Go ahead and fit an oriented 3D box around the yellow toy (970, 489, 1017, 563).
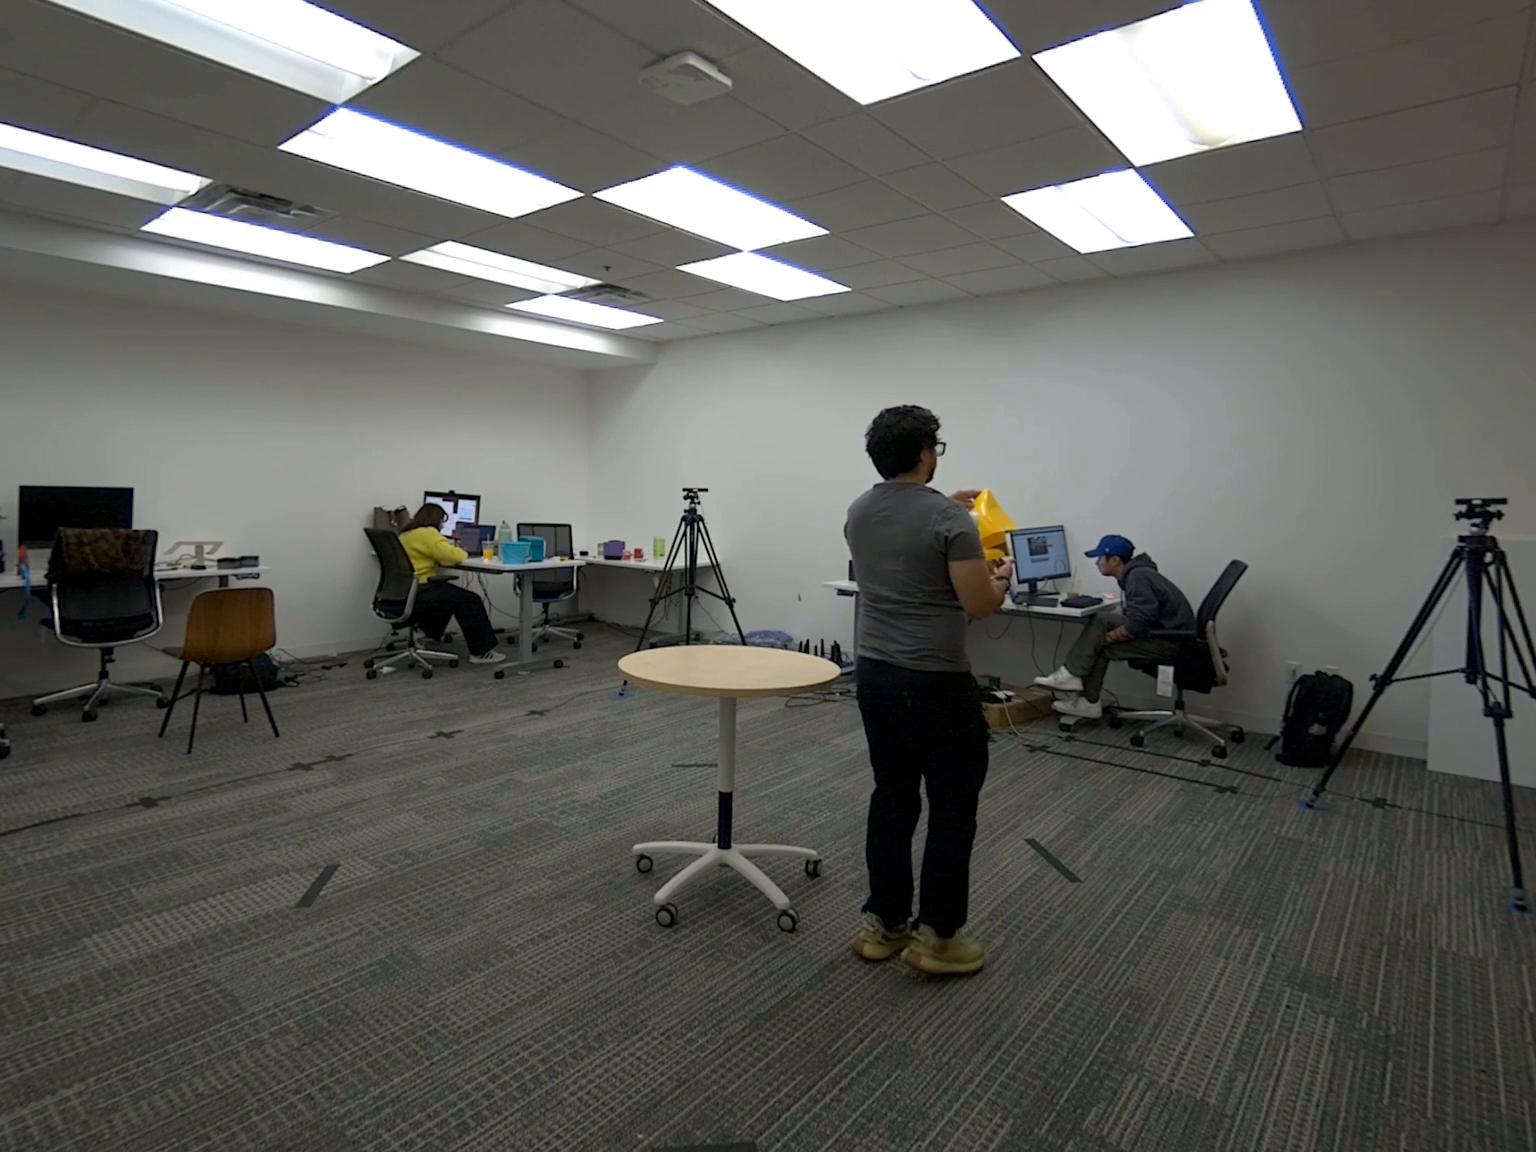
[{"bbox_3d":[0.691,-0.161,2.792,0.197,0.232,0.199,-17,-6,36],"label":"yellow toy"}]
